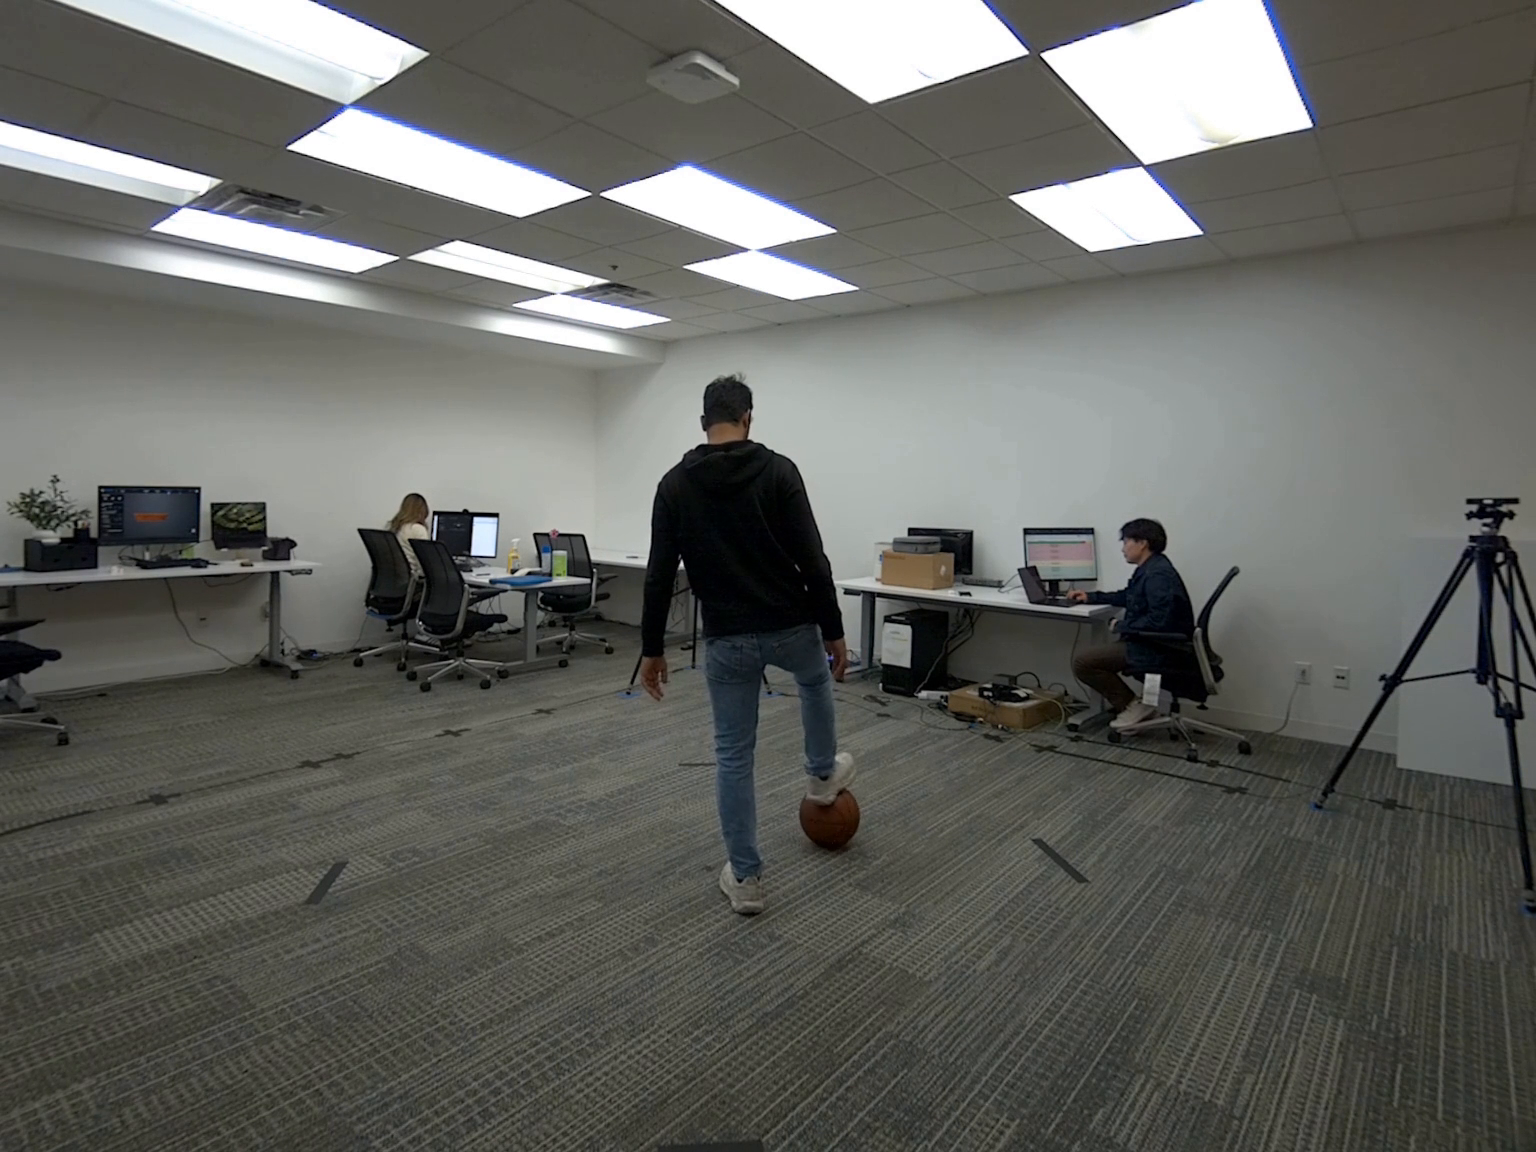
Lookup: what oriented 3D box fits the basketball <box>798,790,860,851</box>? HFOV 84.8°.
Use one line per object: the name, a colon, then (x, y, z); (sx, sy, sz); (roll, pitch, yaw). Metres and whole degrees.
basketball: (0.226, 0.933, 3.334); (0.235, 0.235, 0.237); (1, 4, -2)
